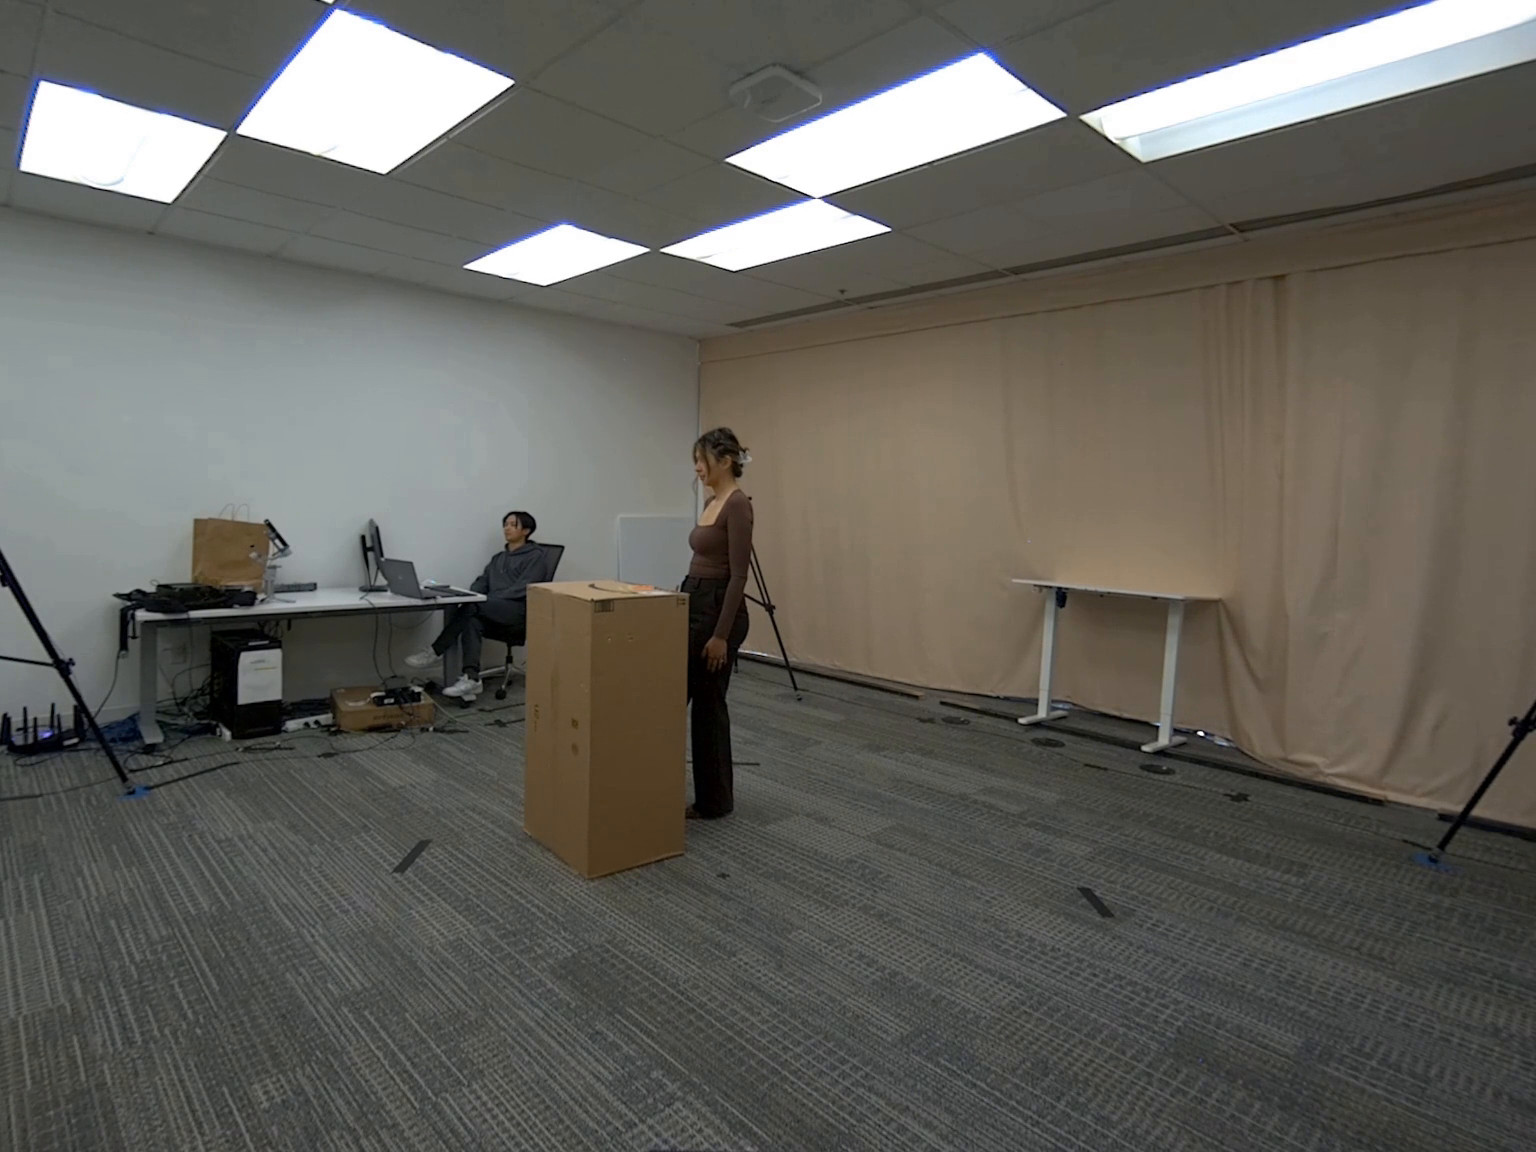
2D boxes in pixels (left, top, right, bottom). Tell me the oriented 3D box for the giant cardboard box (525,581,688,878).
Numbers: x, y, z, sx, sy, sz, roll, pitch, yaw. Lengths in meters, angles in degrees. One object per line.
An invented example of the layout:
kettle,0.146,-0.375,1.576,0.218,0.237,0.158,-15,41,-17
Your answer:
giant cardboard box,-0.662,0.561,3.357,0.437,1.025,0.598,0,3,-37
